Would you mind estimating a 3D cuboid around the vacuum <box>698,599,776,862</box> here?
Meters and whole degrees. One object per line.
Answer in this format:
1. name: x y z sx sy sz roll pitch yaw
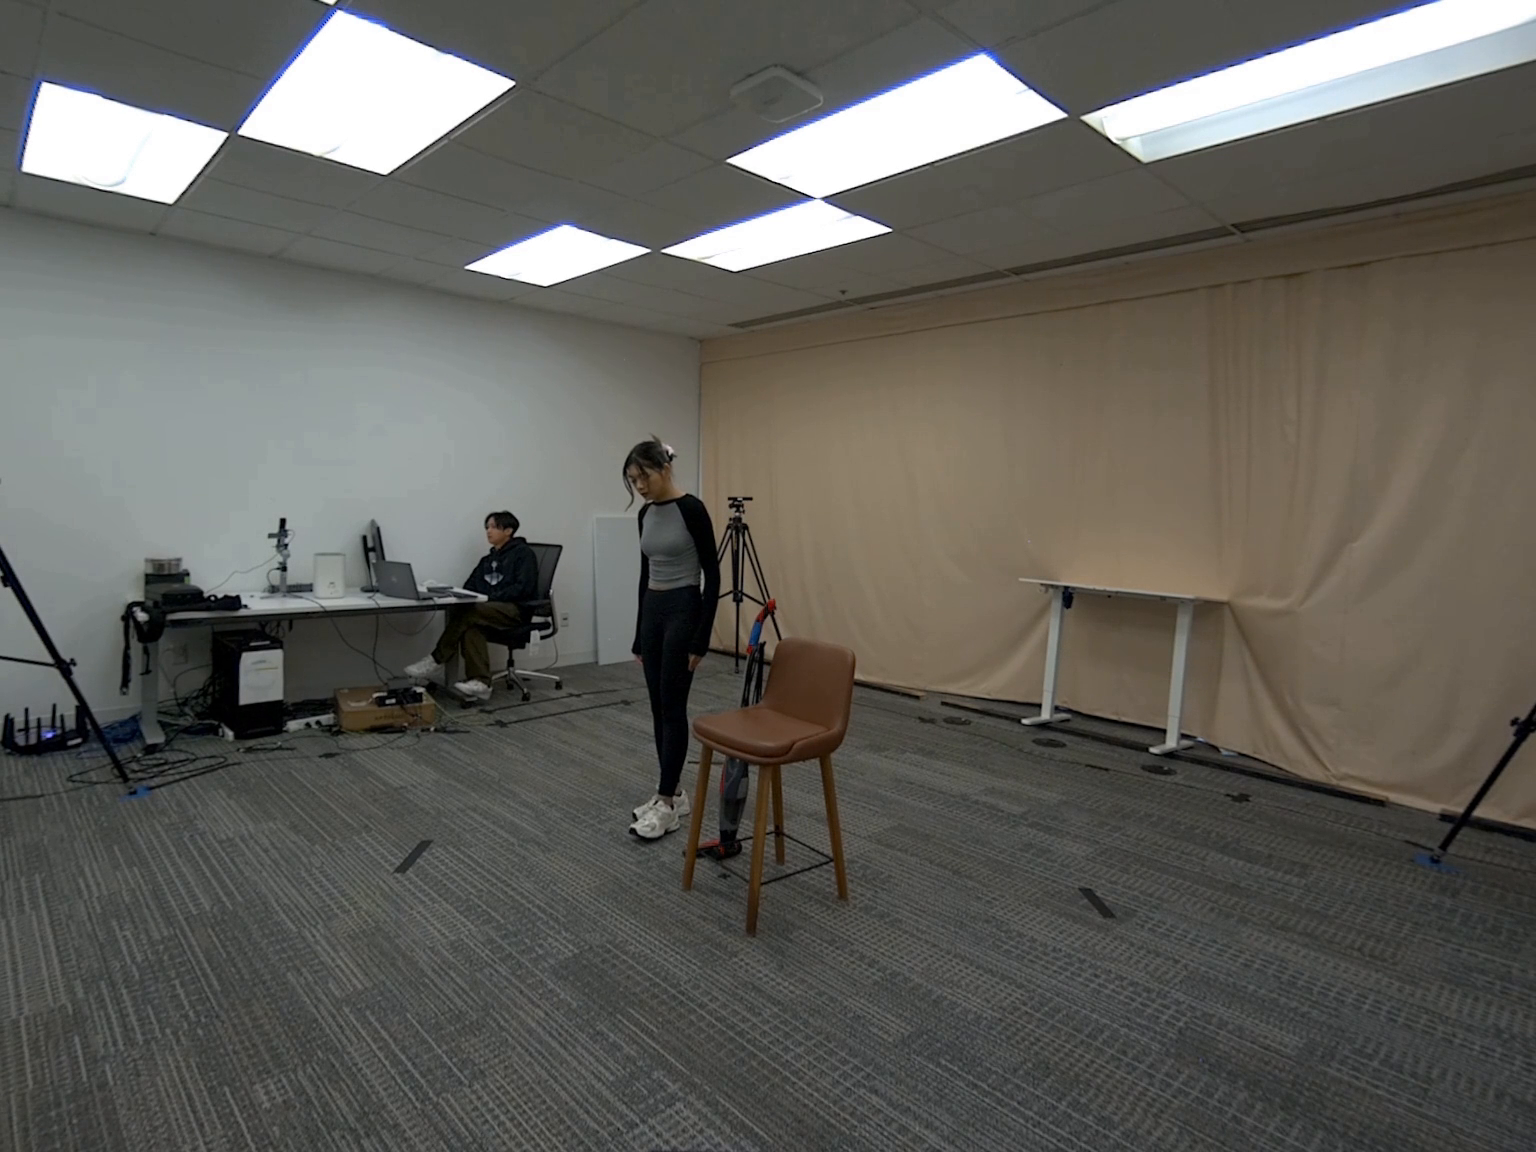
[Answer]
1. vacuum: -0.098 0.589 3.198 0.247 1.041 0.148 2 16 -35
